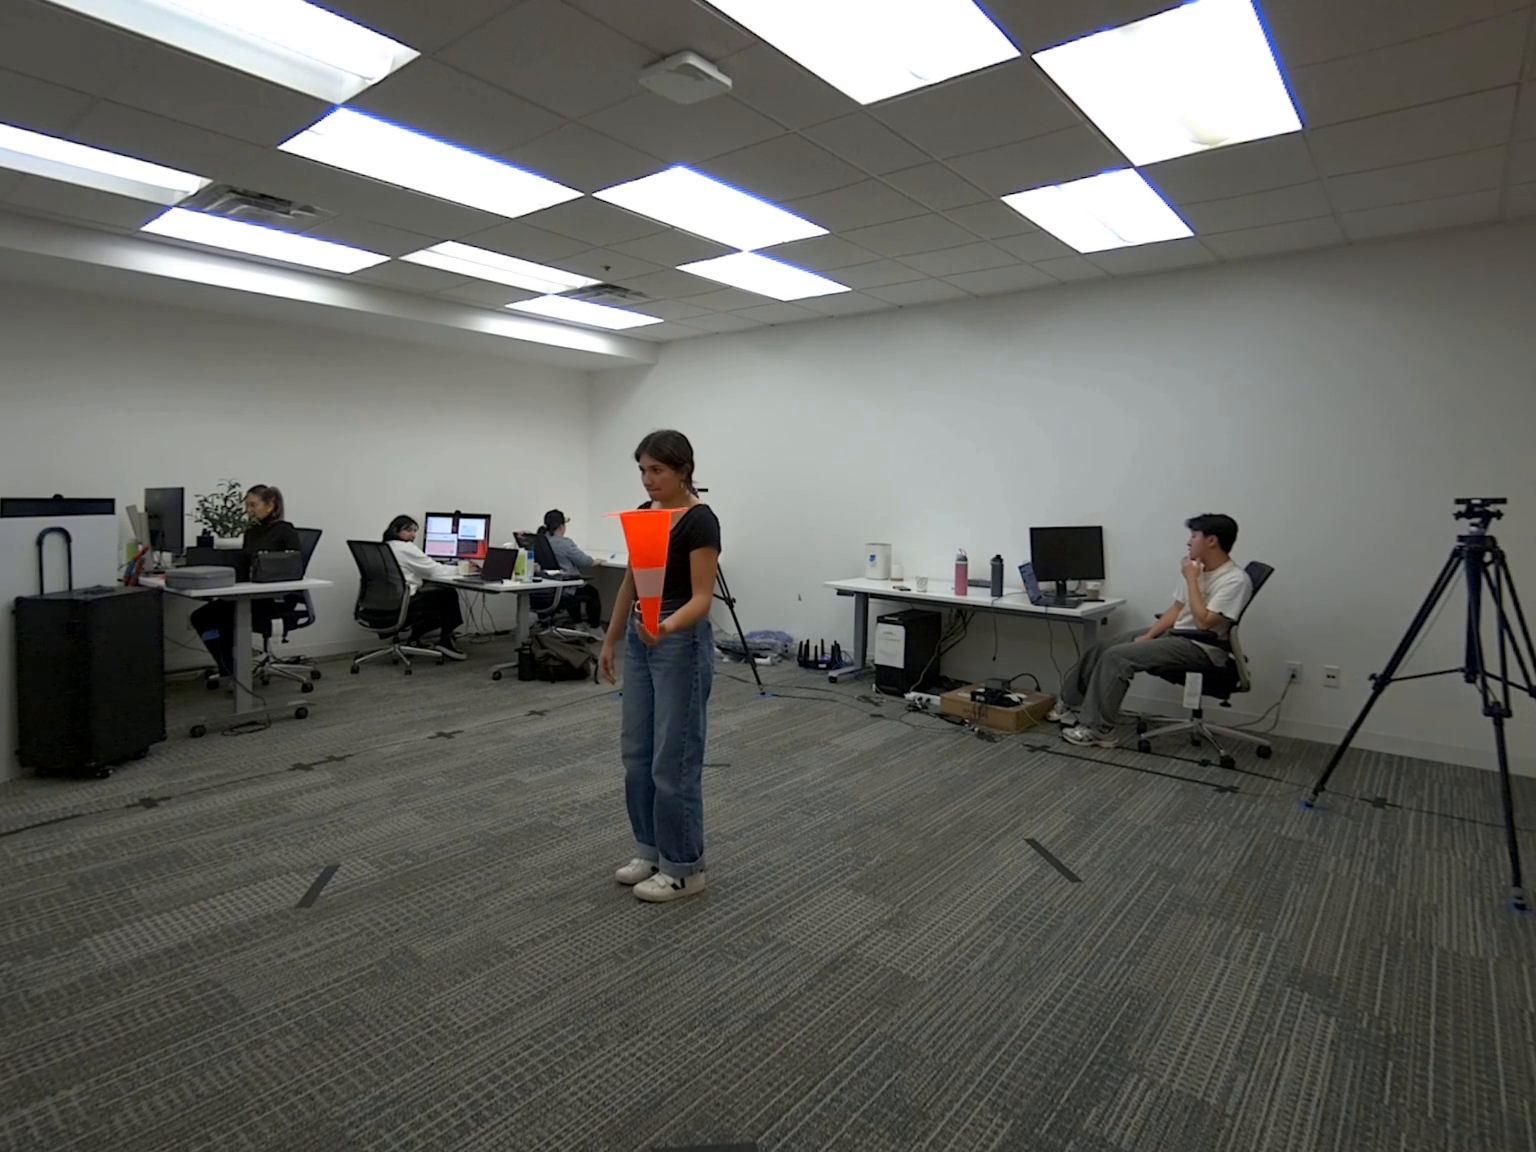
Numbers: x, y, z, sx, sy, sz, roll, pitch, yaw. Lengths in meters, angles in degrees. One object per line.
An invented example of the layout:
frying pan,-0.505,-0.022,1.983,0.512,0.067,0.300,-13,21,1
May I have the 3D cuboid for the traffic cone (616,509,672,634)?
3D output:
traffic cone,-0.378,-0.016,2.575,0.210,0.382,0.199,0,4,24
